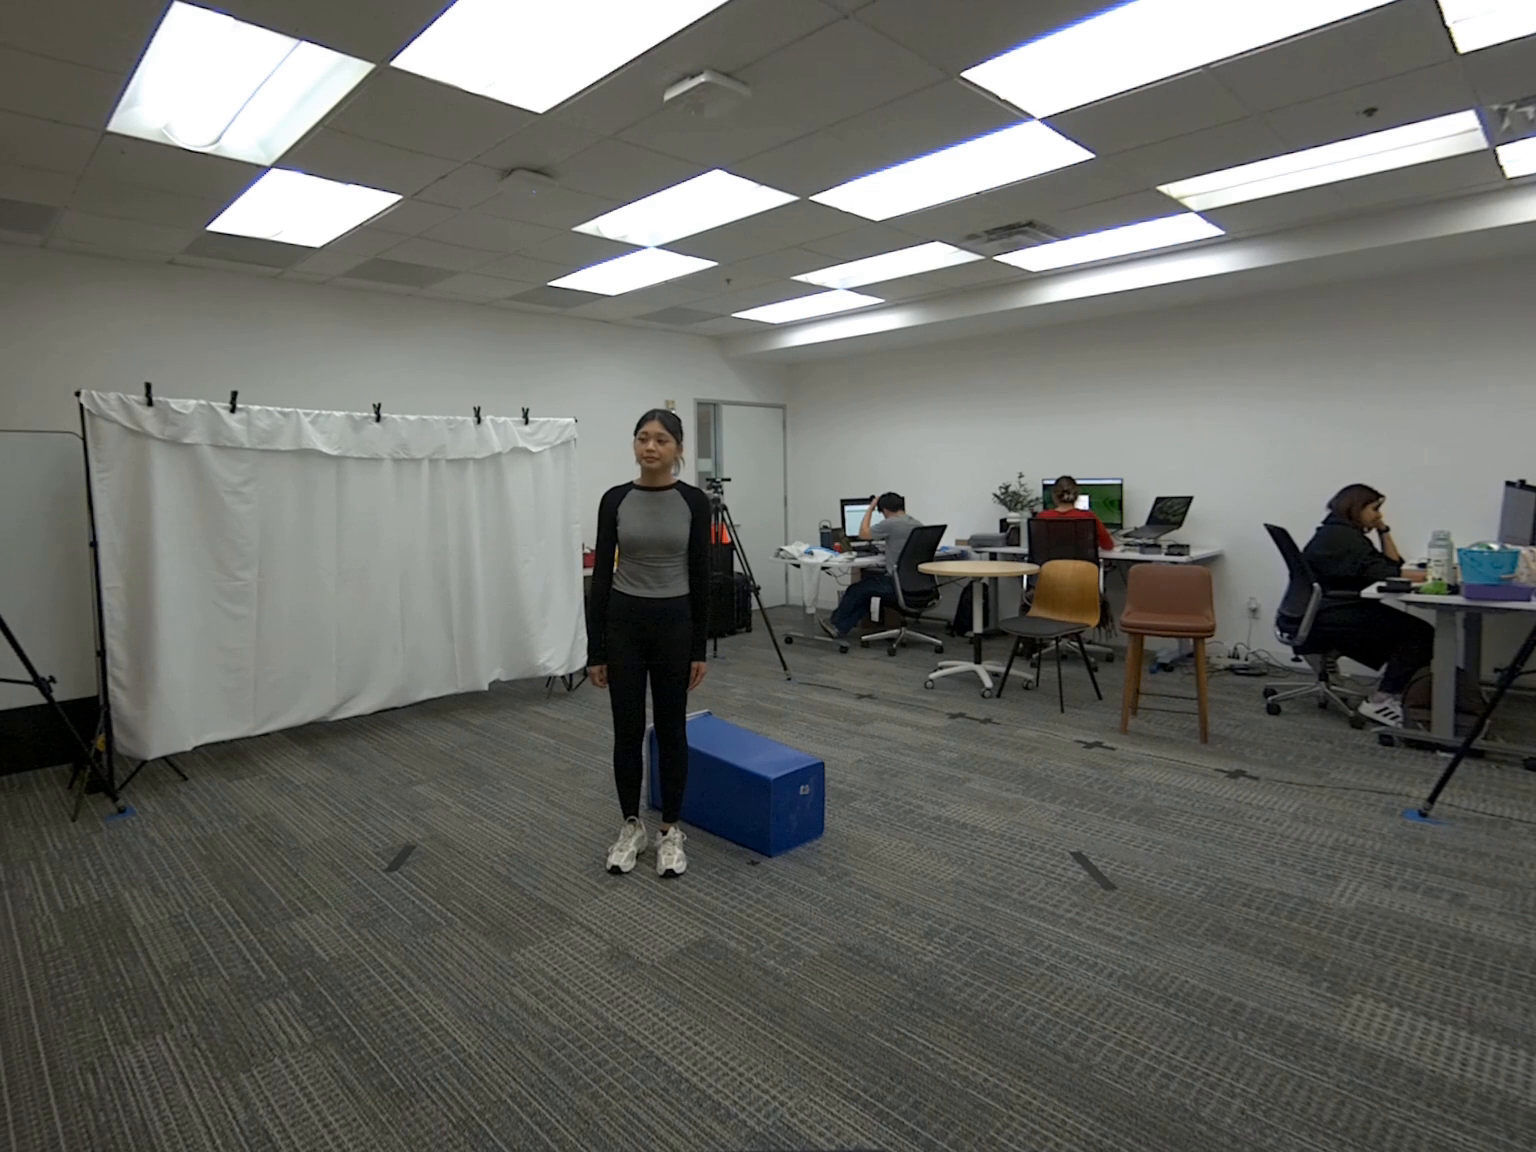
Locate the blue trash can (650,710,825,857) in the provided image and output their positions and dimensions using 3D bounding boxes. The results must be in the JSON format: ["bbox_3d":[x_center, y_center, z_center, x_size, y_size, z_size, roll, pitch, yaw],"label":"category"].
[{"bbox_3d":[-0.130,0.827,3.484,0.368,0.372,0.736,-5,9,-44],"label":"blue trash can"}]
